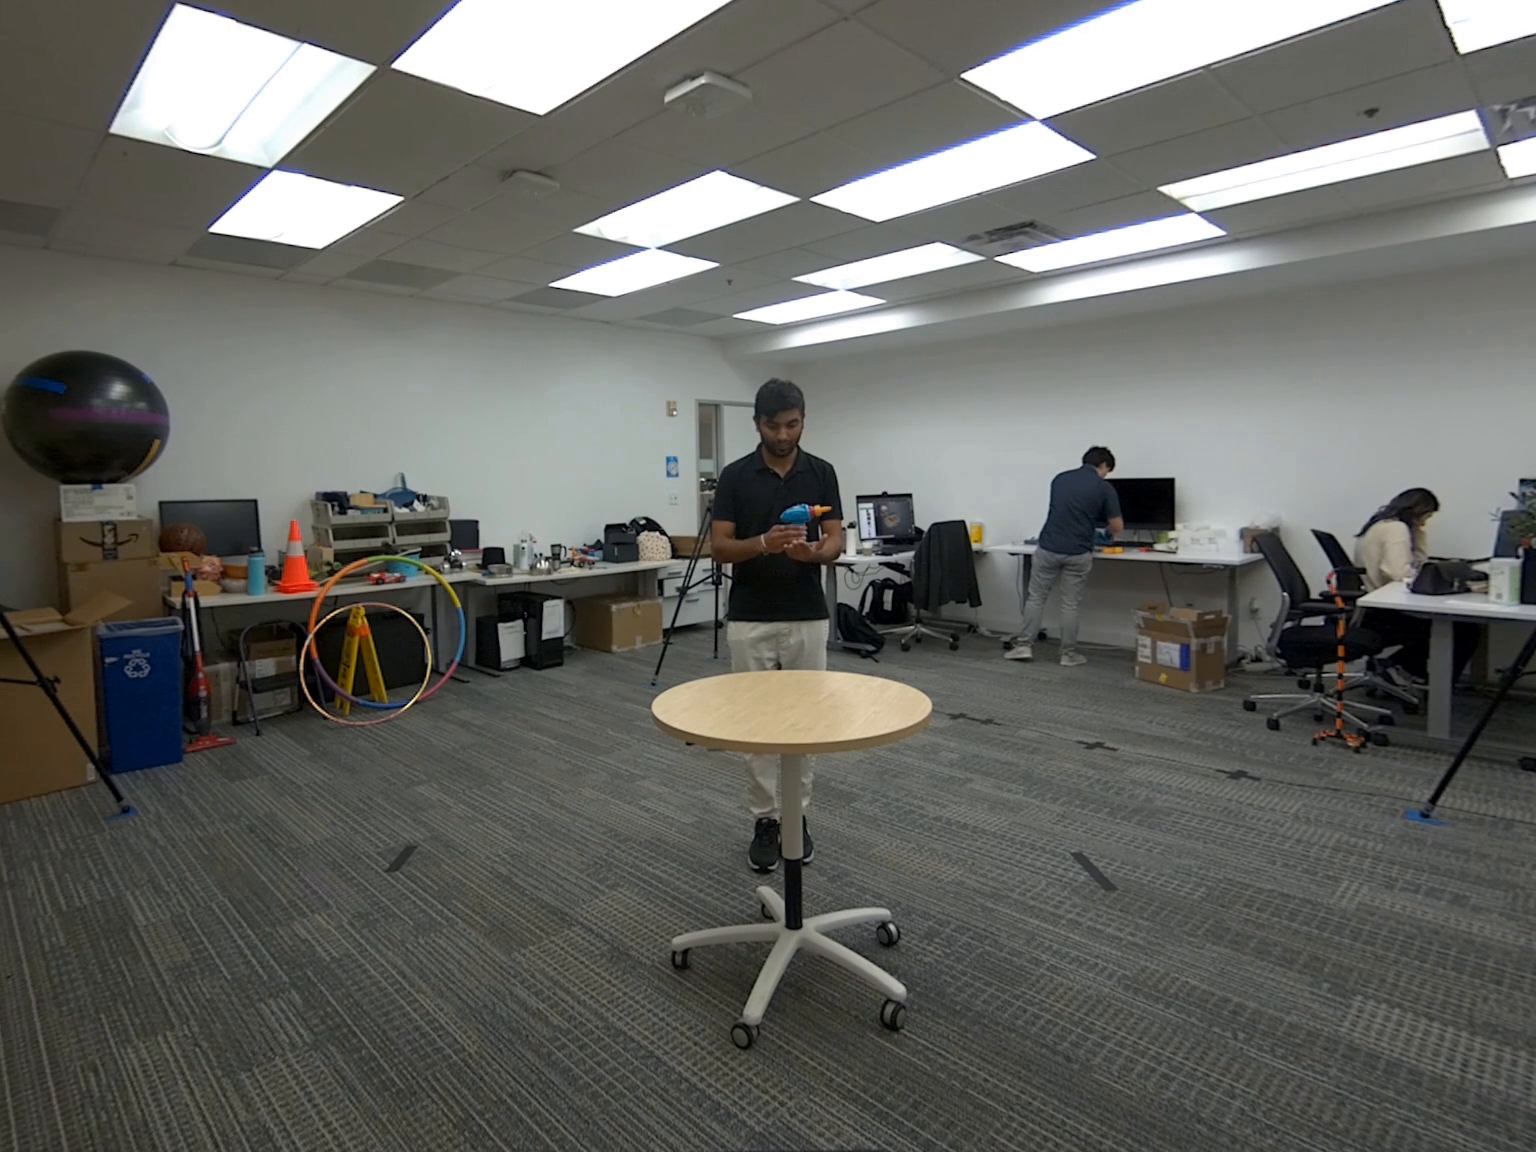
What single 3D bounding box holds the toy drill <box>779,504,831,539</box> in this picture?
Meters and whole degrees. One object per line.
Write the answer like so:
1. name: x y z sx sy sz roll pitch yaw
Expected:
1. toy drill: 0.127 -0.168 2.825 0.170 0.145 0.061 -12 4 1
